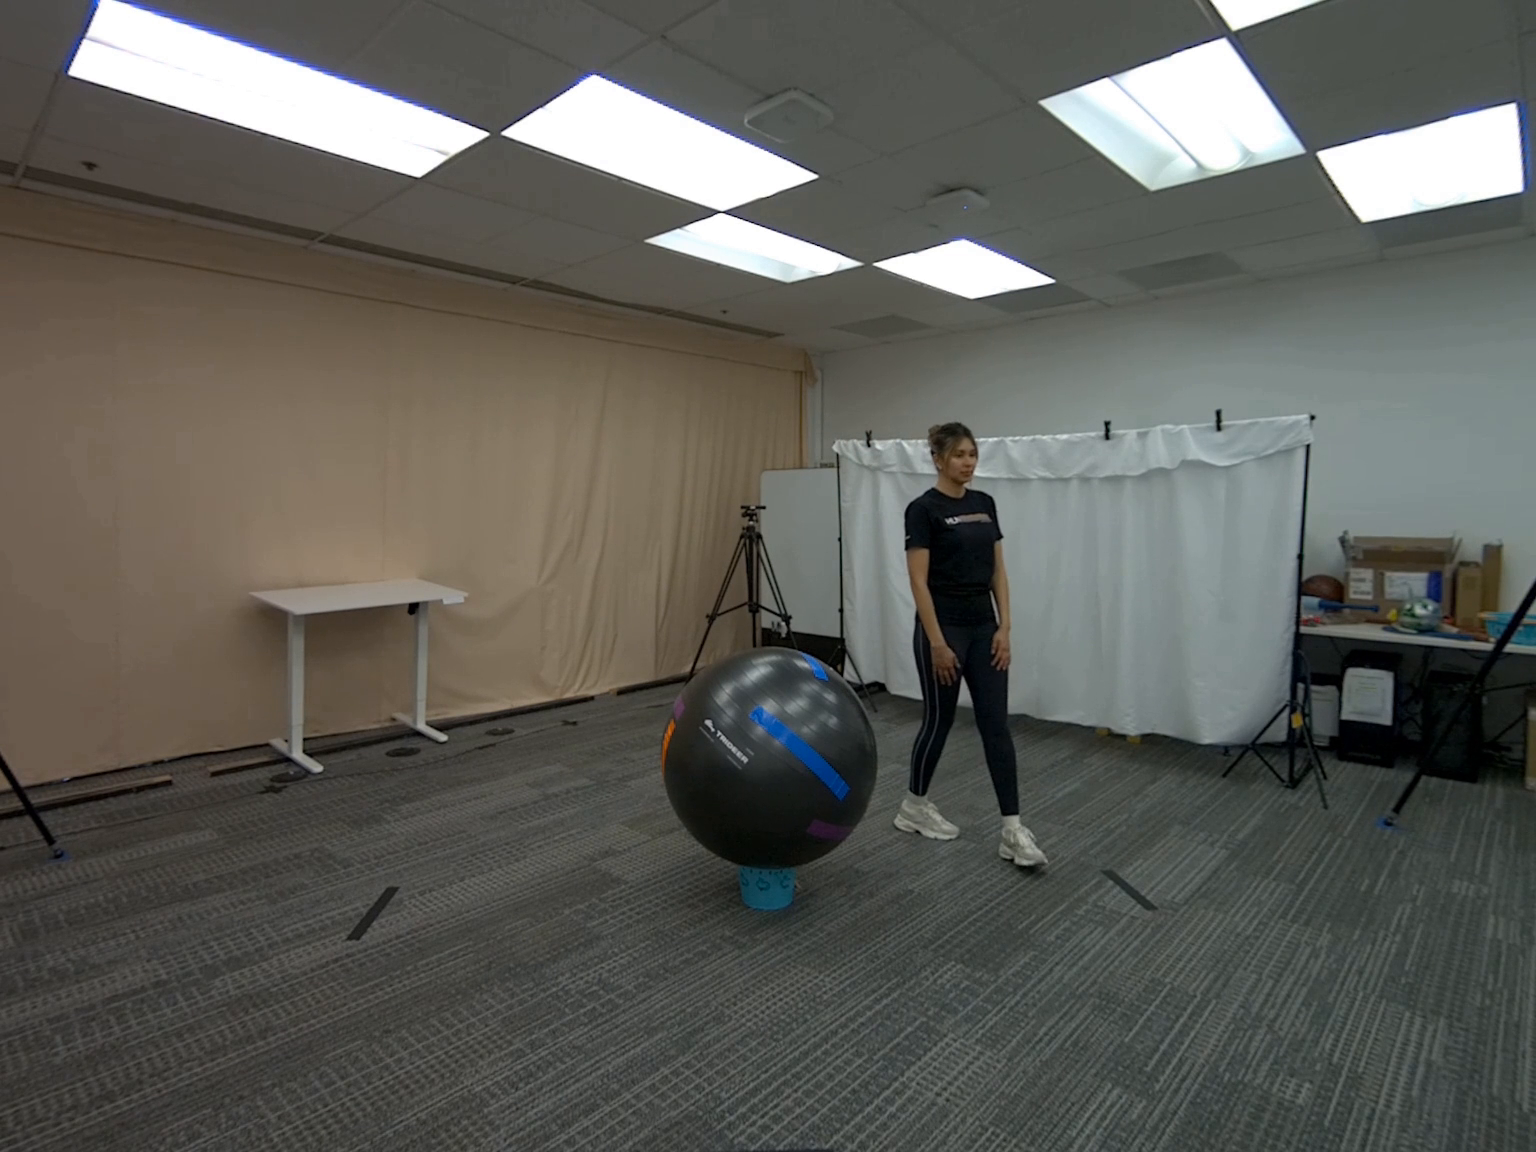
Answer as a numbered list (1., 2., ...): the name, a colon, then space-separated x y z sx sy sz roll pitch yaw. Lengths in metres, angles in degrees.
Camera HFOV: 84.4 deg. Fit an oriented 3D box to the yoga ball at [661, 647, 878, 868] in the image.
1. yoga ball: 0.005 0.633 2.967 0.757 0.756 0.760 0 4 -2
